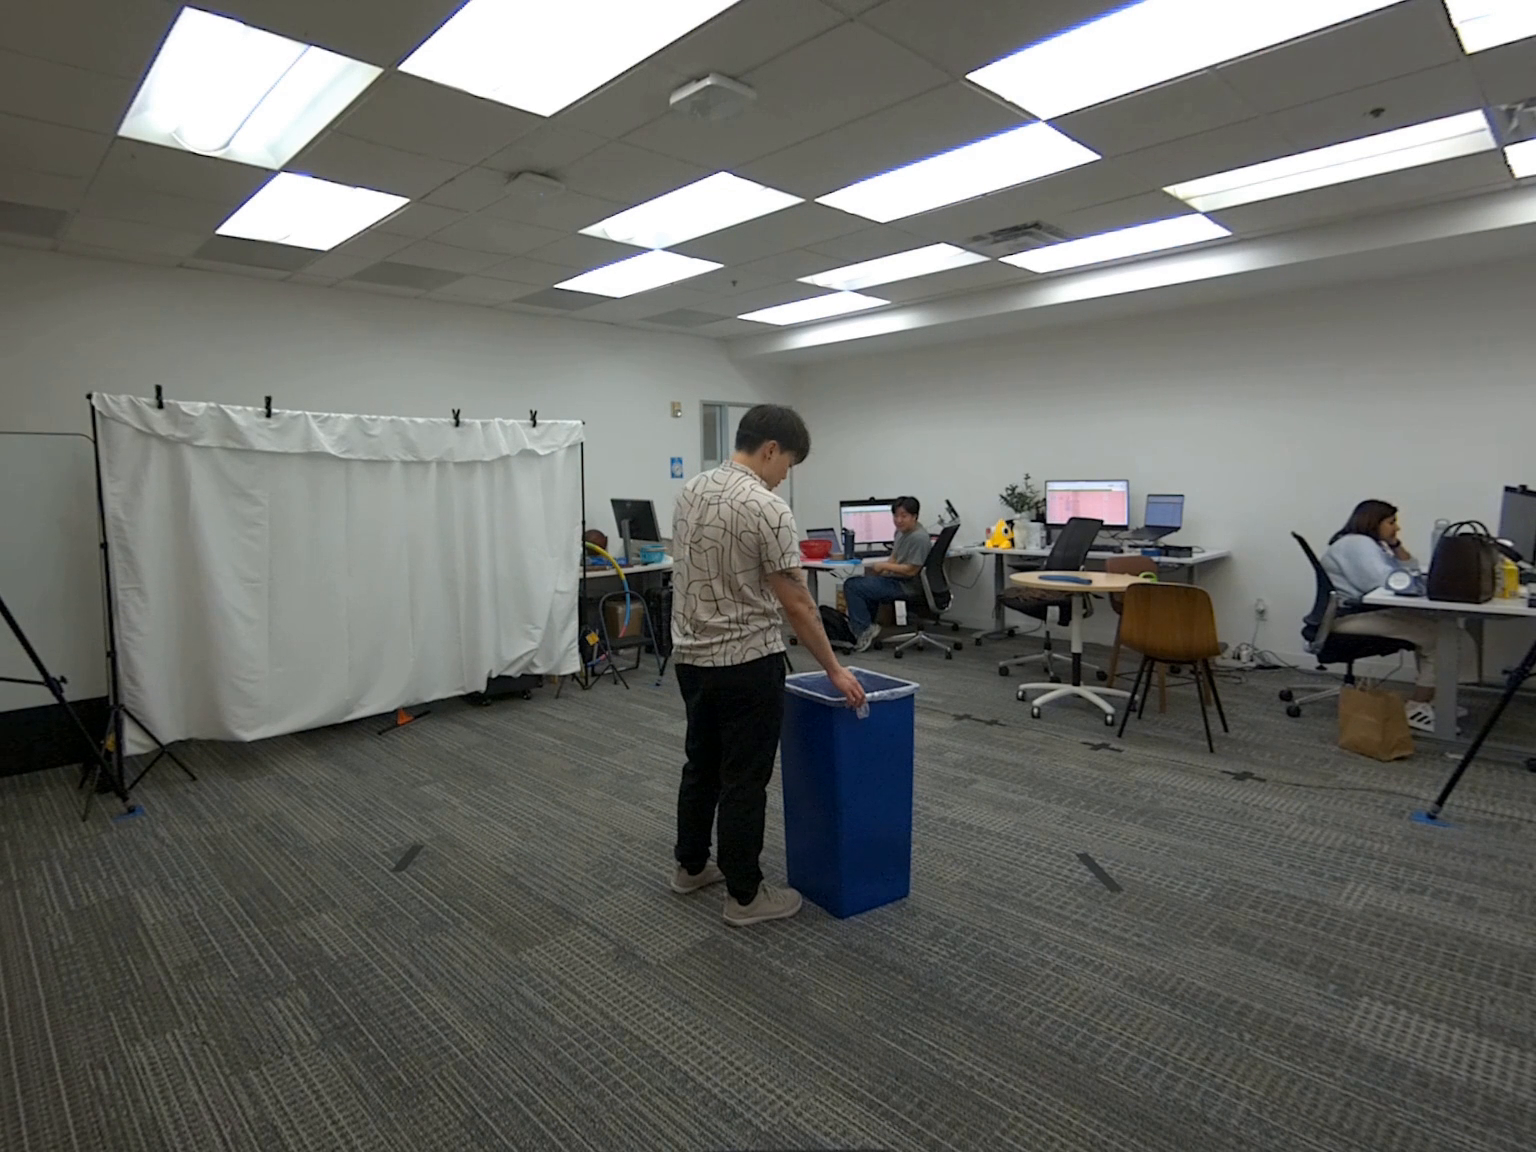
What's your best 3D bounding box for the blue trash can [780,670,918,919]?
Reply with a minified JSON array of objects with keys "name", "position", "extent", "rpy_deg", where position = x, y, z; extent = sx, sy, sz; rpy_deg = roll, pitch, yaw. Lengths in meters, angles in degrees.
[{"name":"blue trash can","position":[0.264,0.709,2.891],"extent":[0.369,0.711,0.385],"rpy_deg":[-3,5,-32]}]
